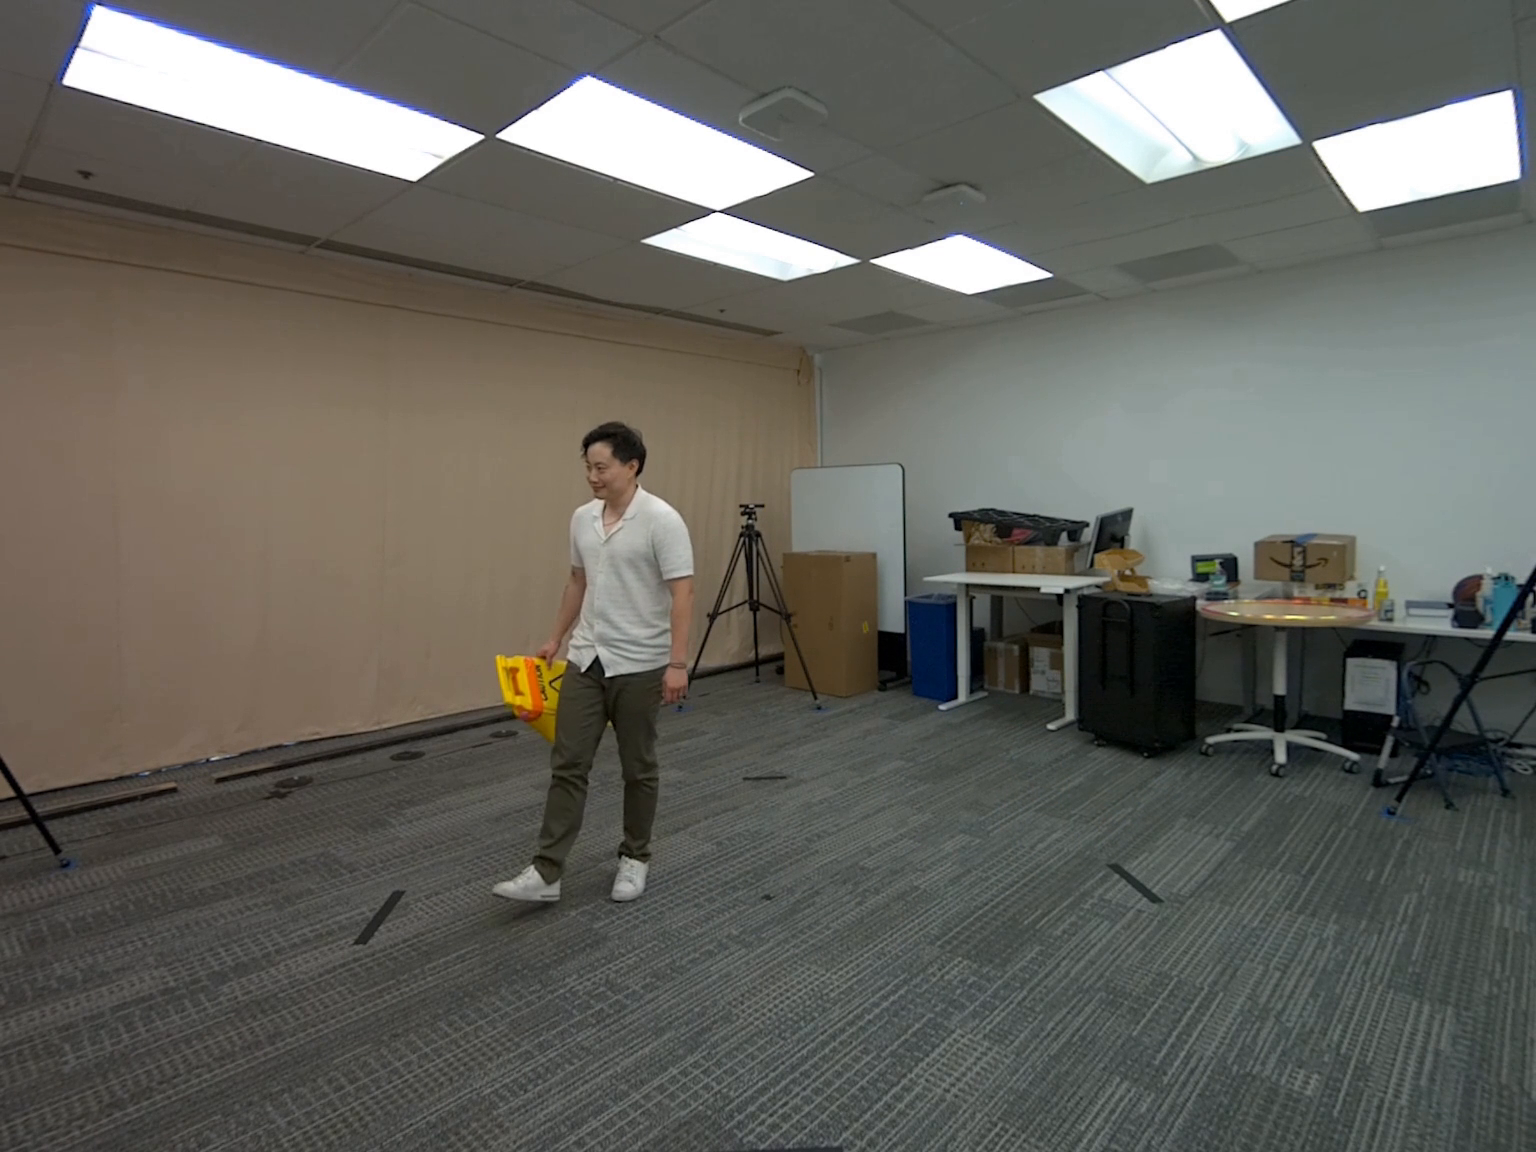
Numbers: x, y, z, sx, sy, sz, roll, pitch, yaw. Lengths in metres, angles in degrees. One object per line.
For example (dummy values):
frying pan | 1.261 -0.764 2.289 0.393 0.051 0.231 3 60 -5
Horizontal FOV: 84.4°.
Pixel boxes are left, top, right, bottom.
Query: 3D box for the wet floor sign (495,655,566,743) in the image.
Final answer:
wet floor sign | -0.827 0.475 3.255 0.292 0.289 0.624 -29 -30 12
